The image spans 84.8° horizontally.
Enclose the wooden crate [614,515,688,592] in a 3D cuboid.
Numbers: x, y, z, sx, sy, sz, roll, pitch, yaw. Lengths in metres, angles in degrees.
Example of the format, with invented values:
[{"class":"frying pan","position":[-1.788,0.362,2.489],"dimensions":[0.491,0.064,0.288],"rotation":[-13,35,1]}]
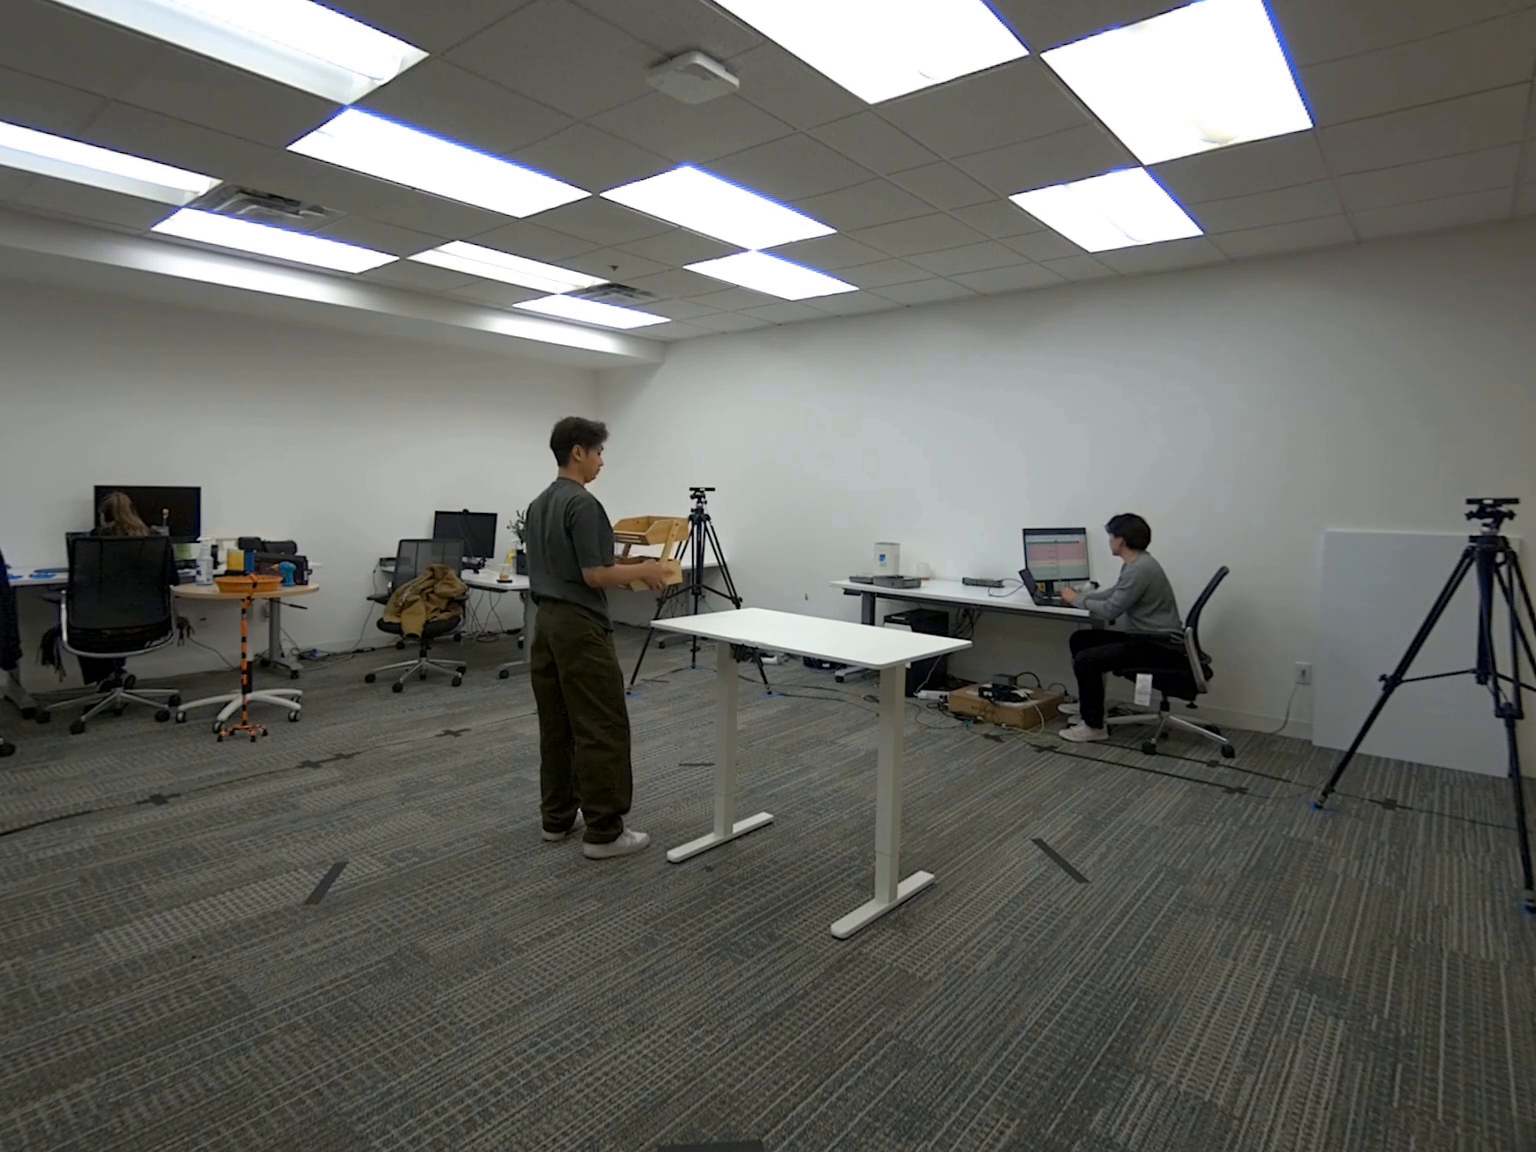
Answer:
[{"class":"wooden crate","position":[-0.546,-0.106,3.517],"dimensions":[0.294,0.271,0.335],"rotation":[-10,10,-37]}]
